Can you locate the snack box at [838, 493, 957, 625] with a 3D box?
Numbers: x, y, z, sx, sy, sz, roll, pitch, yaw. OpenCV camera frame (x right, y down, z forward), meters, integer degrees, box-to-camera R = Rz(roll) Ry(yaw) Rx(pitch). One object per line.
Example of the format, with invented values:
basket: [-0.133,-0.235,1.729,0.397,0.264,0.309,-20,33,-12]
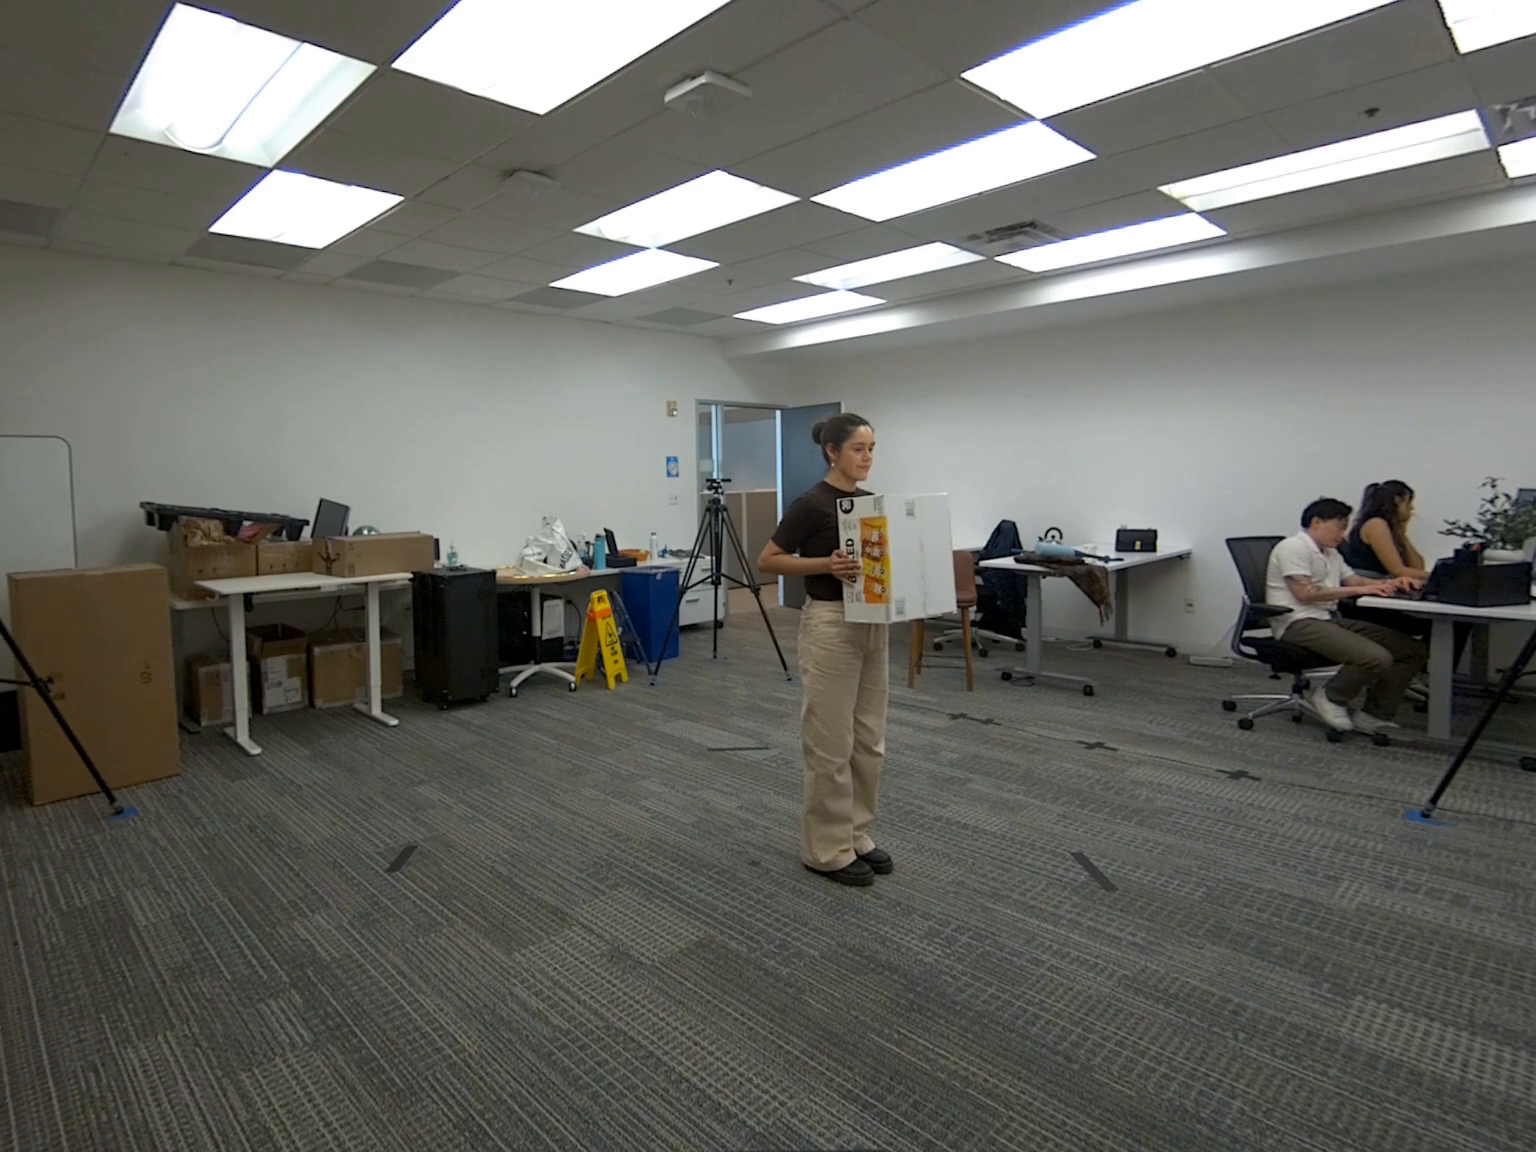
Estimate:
snack box: [0.431,-0.067,2.855,0.331,0.405,0.211,-4,0,-40]
